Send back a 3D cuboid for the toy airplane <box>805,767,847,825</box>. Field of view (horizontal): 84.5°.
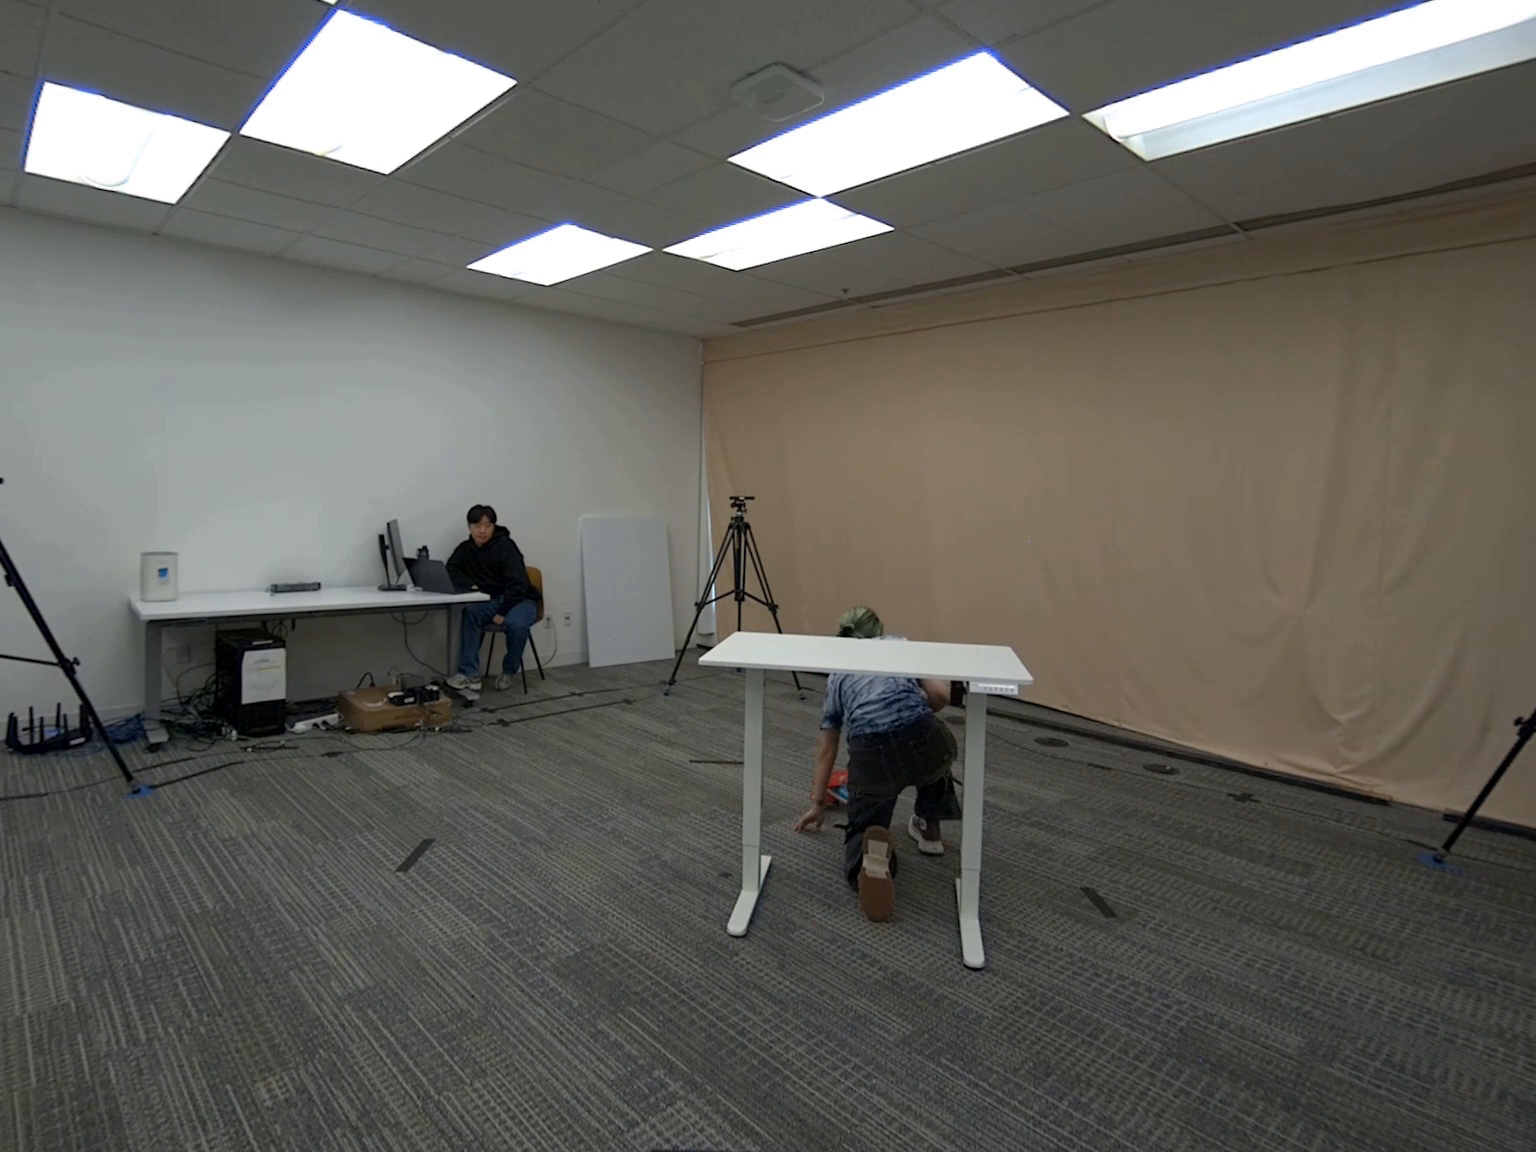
[{"bbox_3d":[0.337,0.985,3.804,0.264,0.156,0.247,2,4,25],"label":"toy airplane"}]
